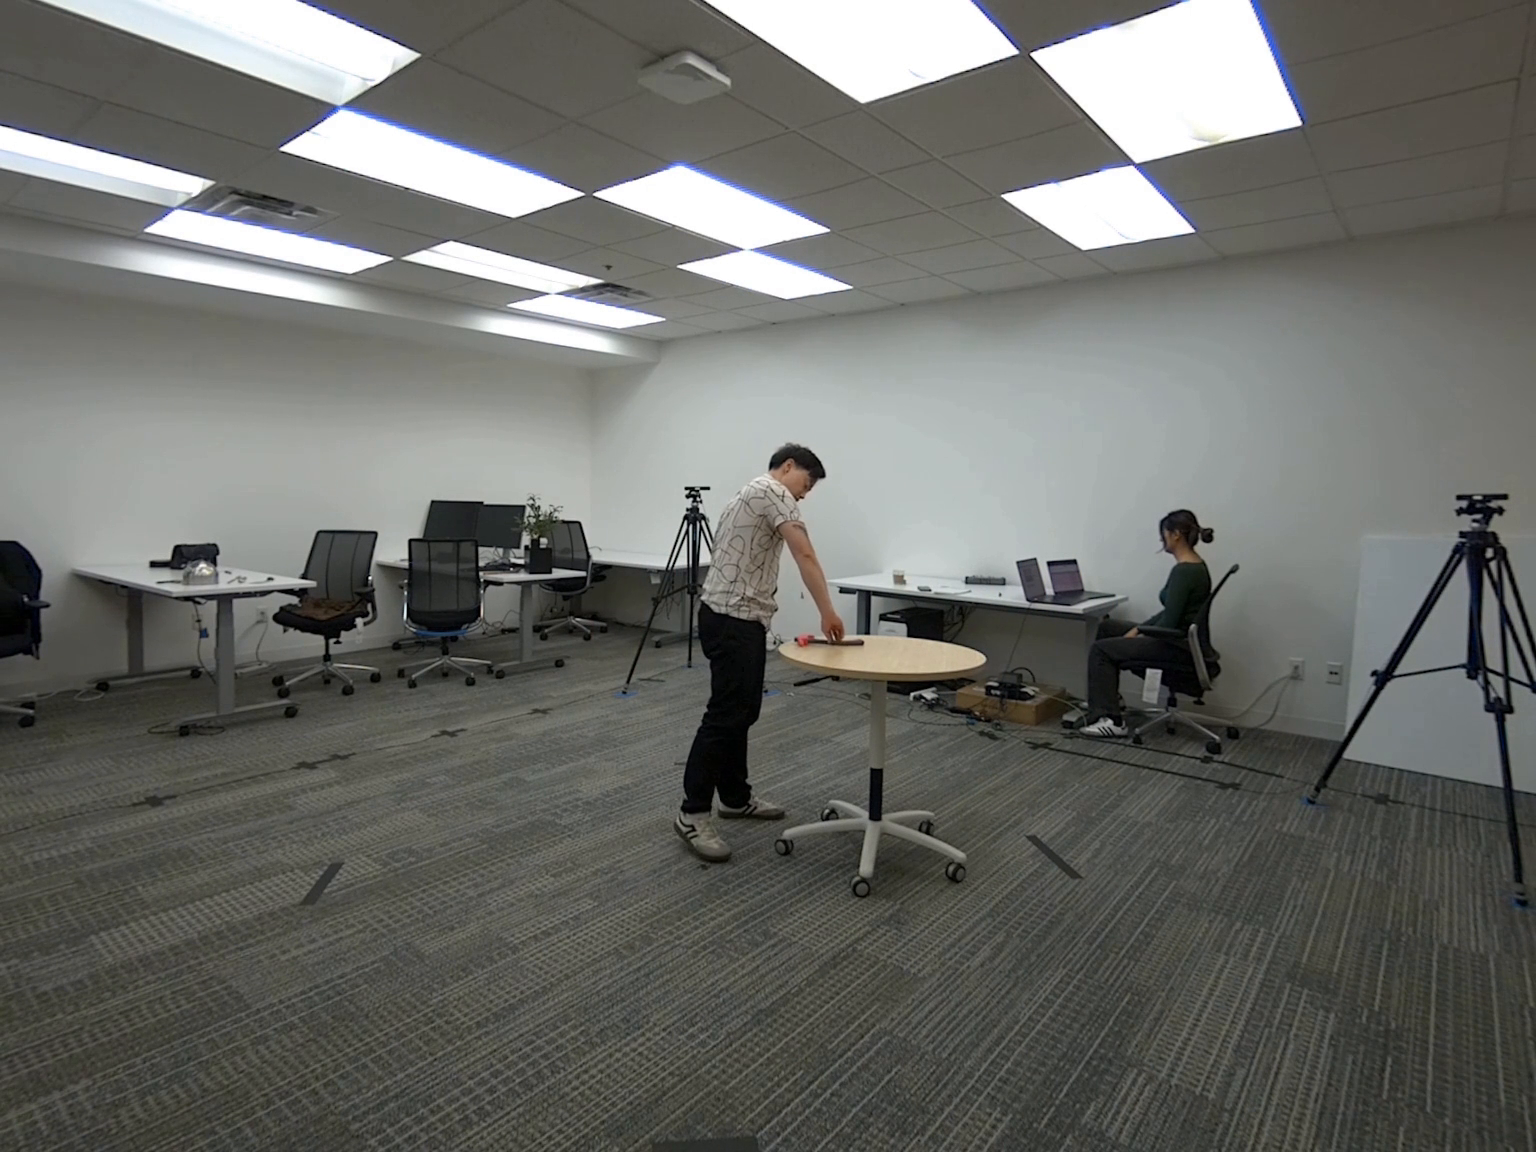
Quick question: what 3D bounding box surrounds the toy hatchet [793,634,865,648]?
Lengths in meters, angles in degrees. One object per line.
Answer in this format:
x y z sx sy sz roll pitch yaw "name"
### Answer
0.238 0.252 3.367 0.265 0.029 0.135 -2 13 -18 "toy hatchet"
